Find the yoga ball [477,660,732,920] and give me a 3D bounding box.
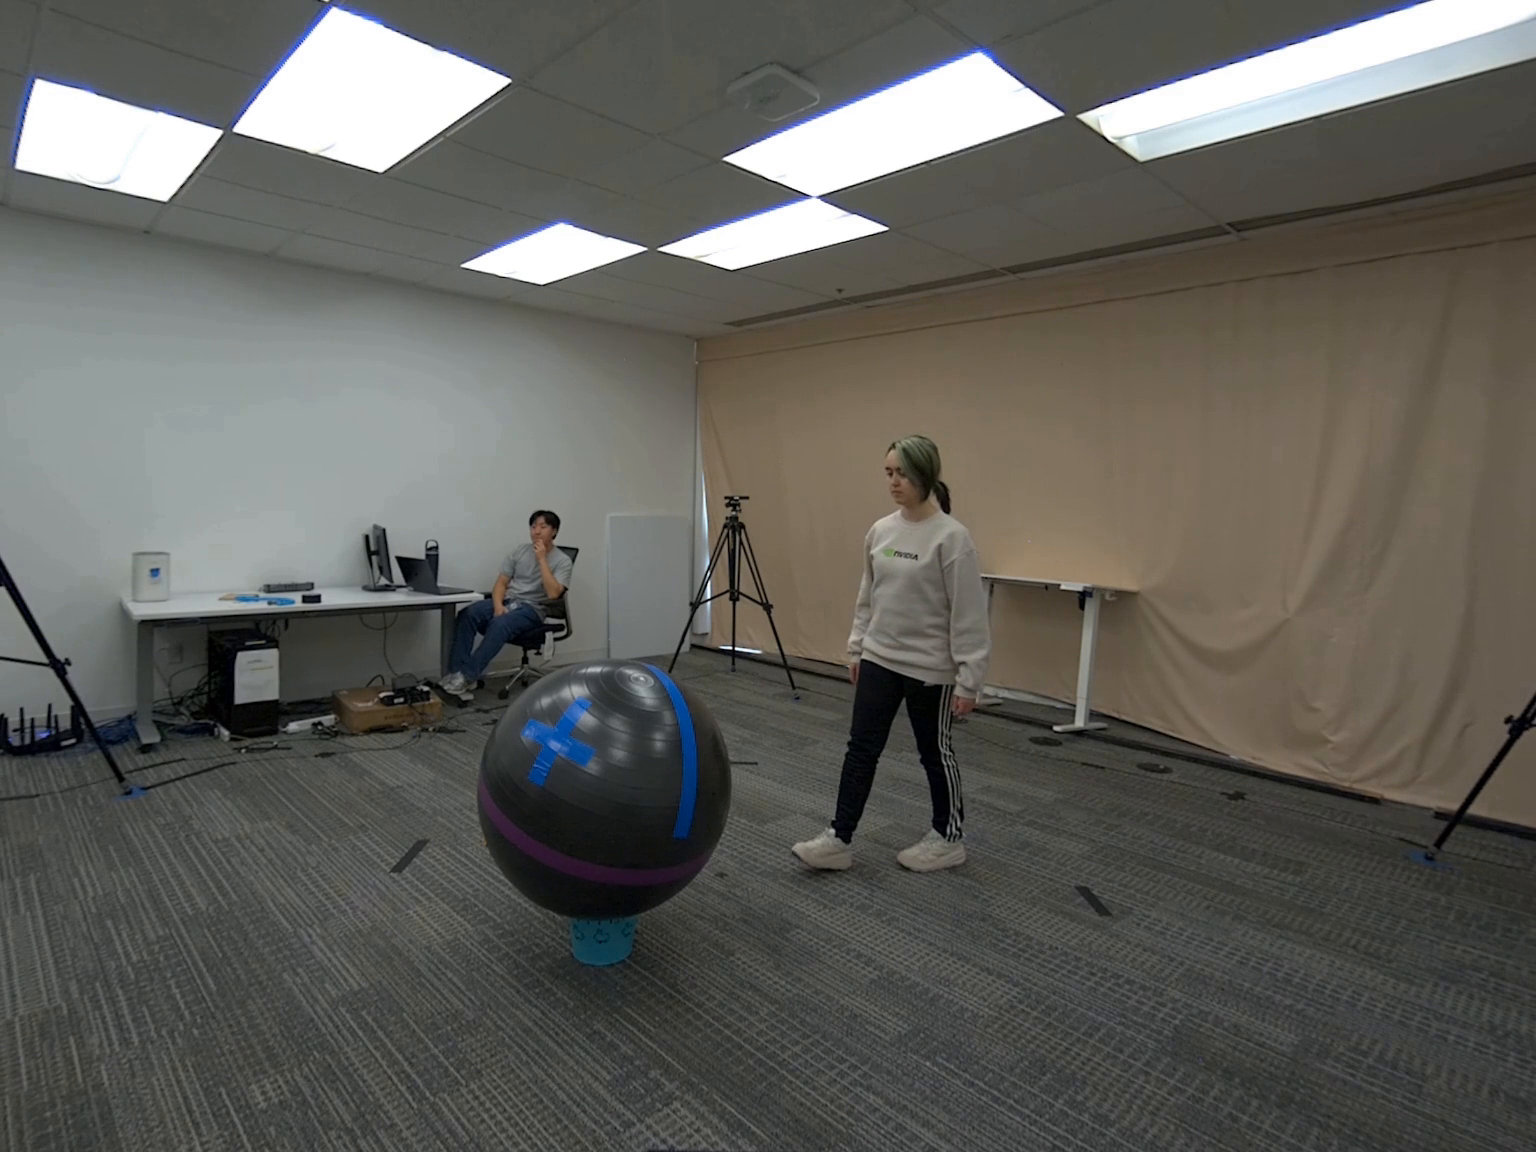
[{"bbox_3d":[-0.491,0.634,2.551,0.757,0.756,0.761,1,4,-1],"label":"yoga ball"}]
